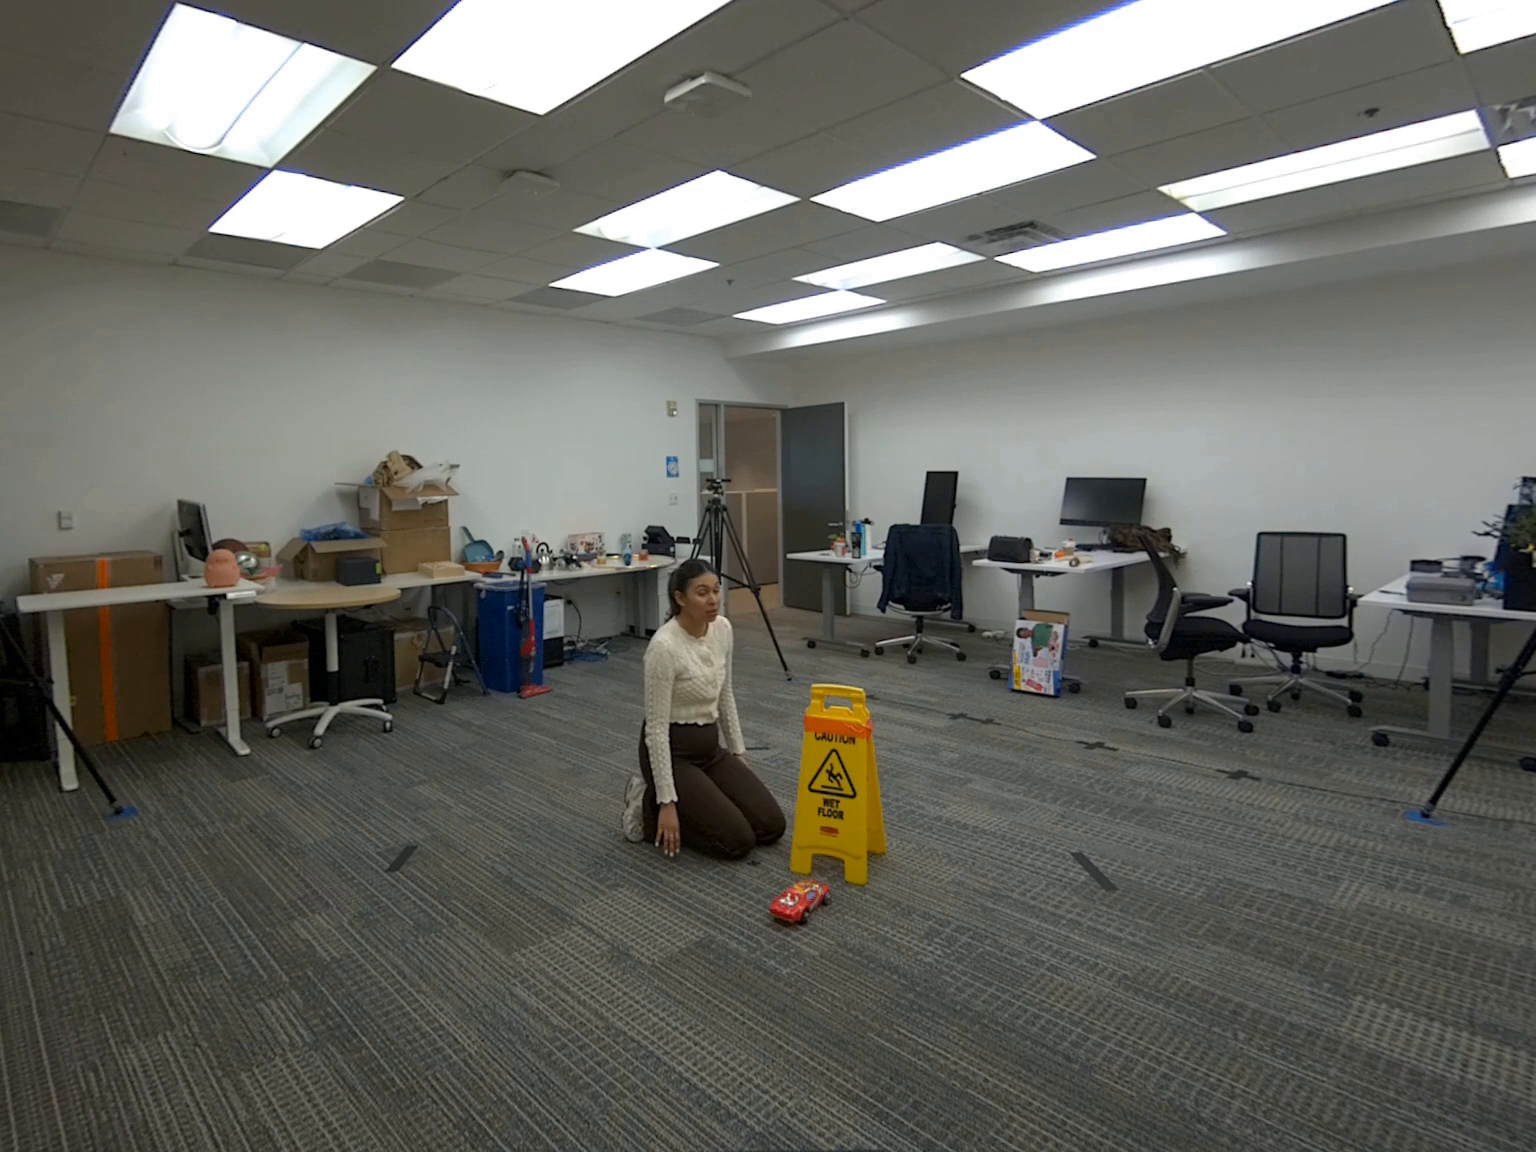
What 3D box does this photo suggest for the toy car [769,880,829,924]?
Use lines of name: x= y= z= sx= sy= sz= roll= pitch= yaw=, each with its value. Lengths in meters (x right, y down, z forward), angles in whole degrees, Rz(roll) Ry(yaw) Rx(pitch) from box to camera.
toy car: x=0.102 y=1.055 z=2.747 sx=0.134 sy=0.083 sz=0.246 roll=4 pitch=-3 yaw=35
